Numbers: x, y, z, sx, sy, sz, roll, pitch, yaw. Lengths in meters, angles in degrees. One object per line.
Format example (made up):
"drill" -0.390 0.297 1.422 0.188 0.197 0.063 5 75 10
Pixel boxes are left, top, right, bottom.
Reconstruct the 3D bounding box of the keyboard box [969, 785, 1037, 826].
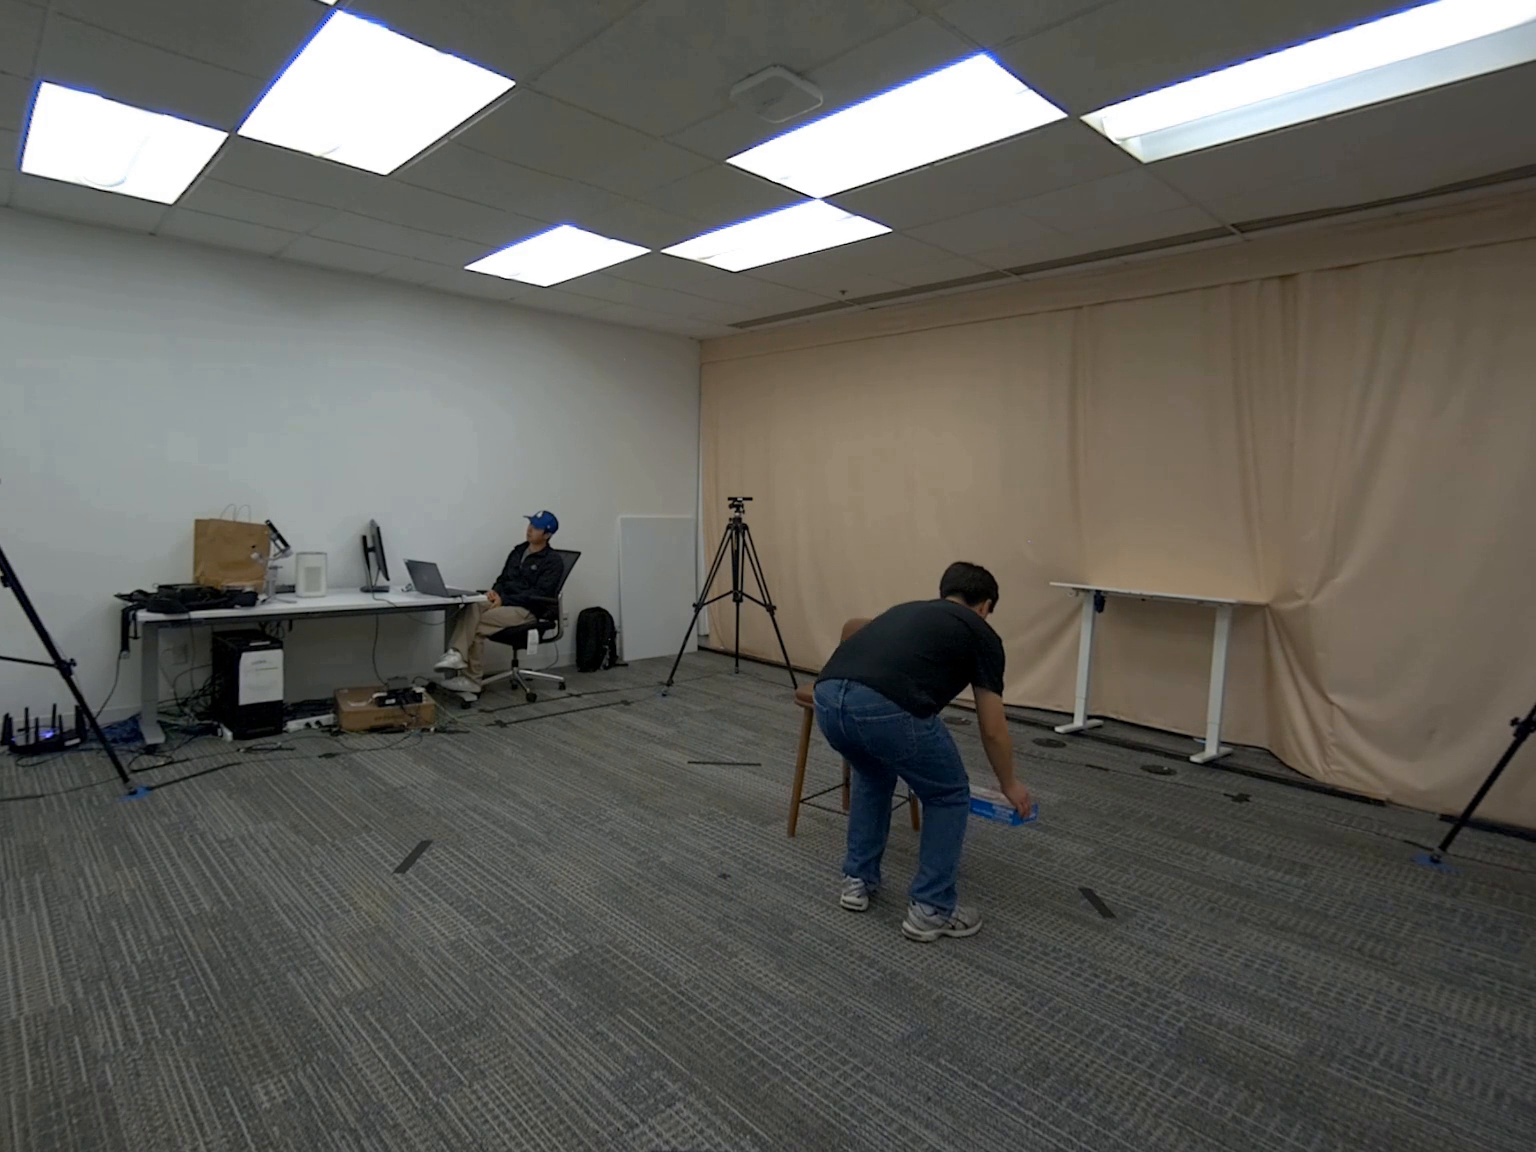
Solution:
"keyboard box" 0.758 0.829 3.139 0.171 0.059 0.448 3 2 -43
